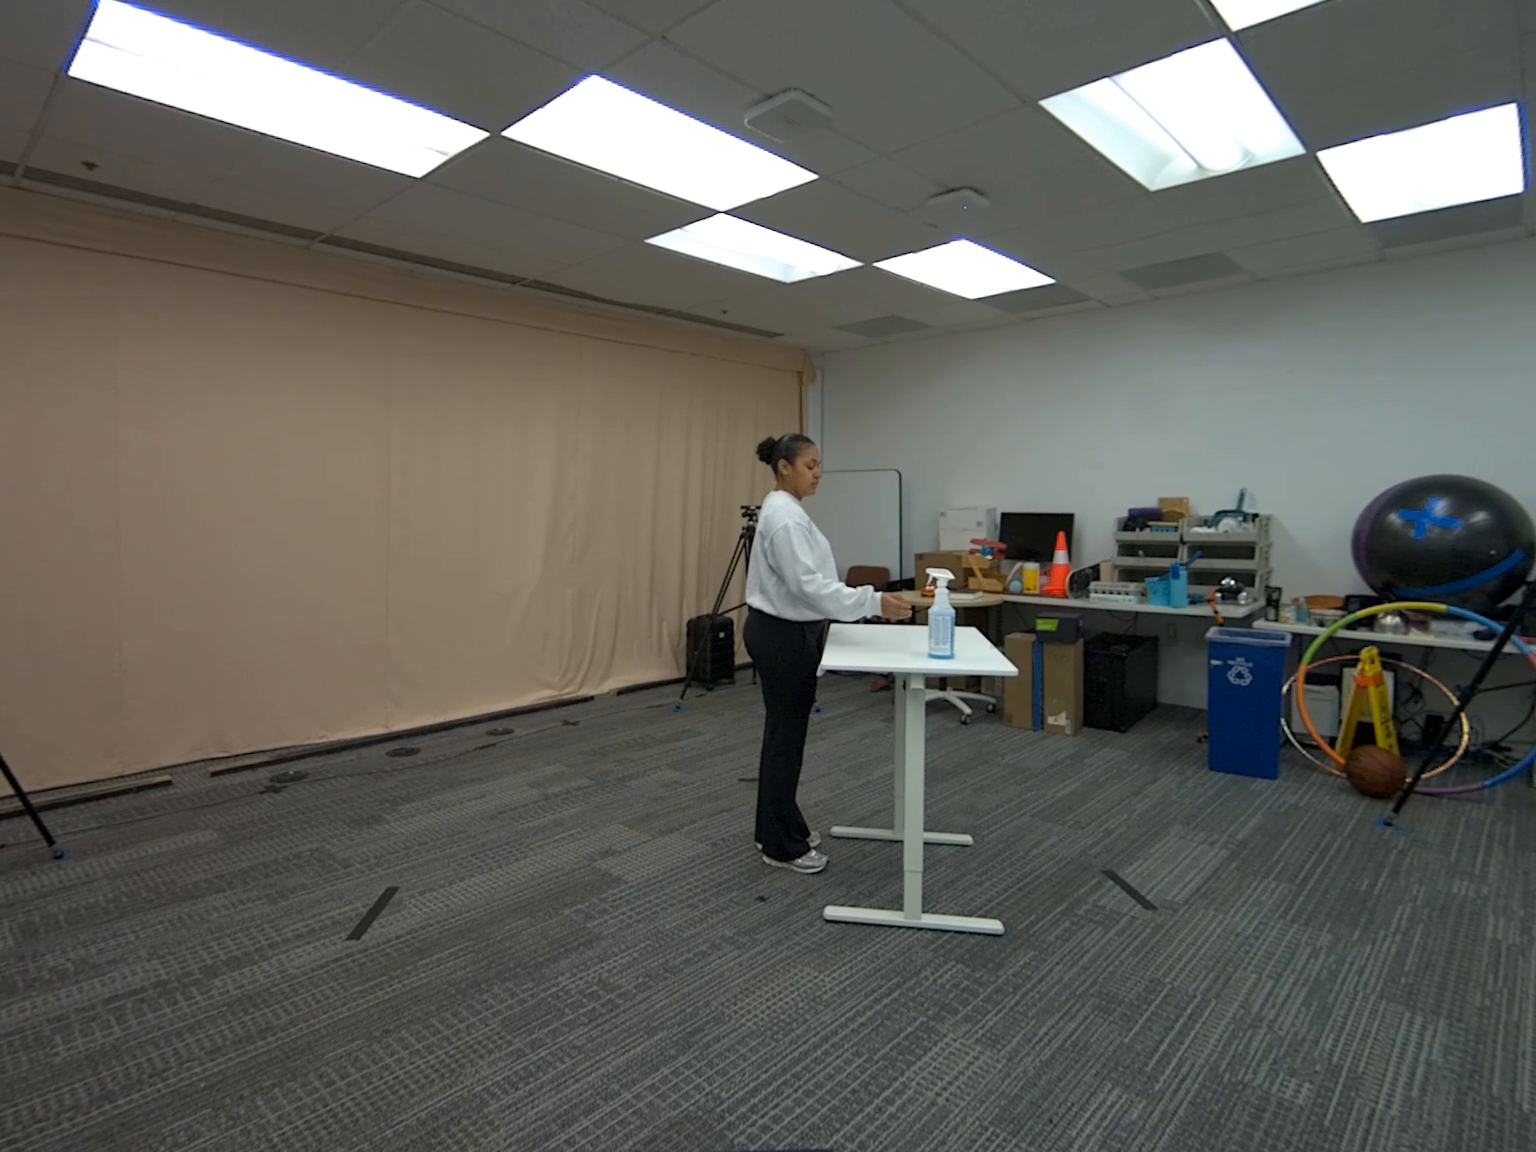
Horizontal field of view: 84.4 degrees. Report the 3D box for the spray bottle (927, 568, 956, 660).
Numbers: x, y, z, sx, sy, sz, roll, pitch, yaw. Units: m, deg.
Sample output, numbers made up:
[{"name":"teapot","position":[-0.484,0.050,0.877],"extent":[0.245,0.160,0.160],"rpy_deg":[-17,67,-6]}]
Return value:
[{"name":"spray bottle","position":[0.587,0.128,2.806],"extent":[0.084,0.297,0.093],"rpy_deg":[-2,2,-42]}]
